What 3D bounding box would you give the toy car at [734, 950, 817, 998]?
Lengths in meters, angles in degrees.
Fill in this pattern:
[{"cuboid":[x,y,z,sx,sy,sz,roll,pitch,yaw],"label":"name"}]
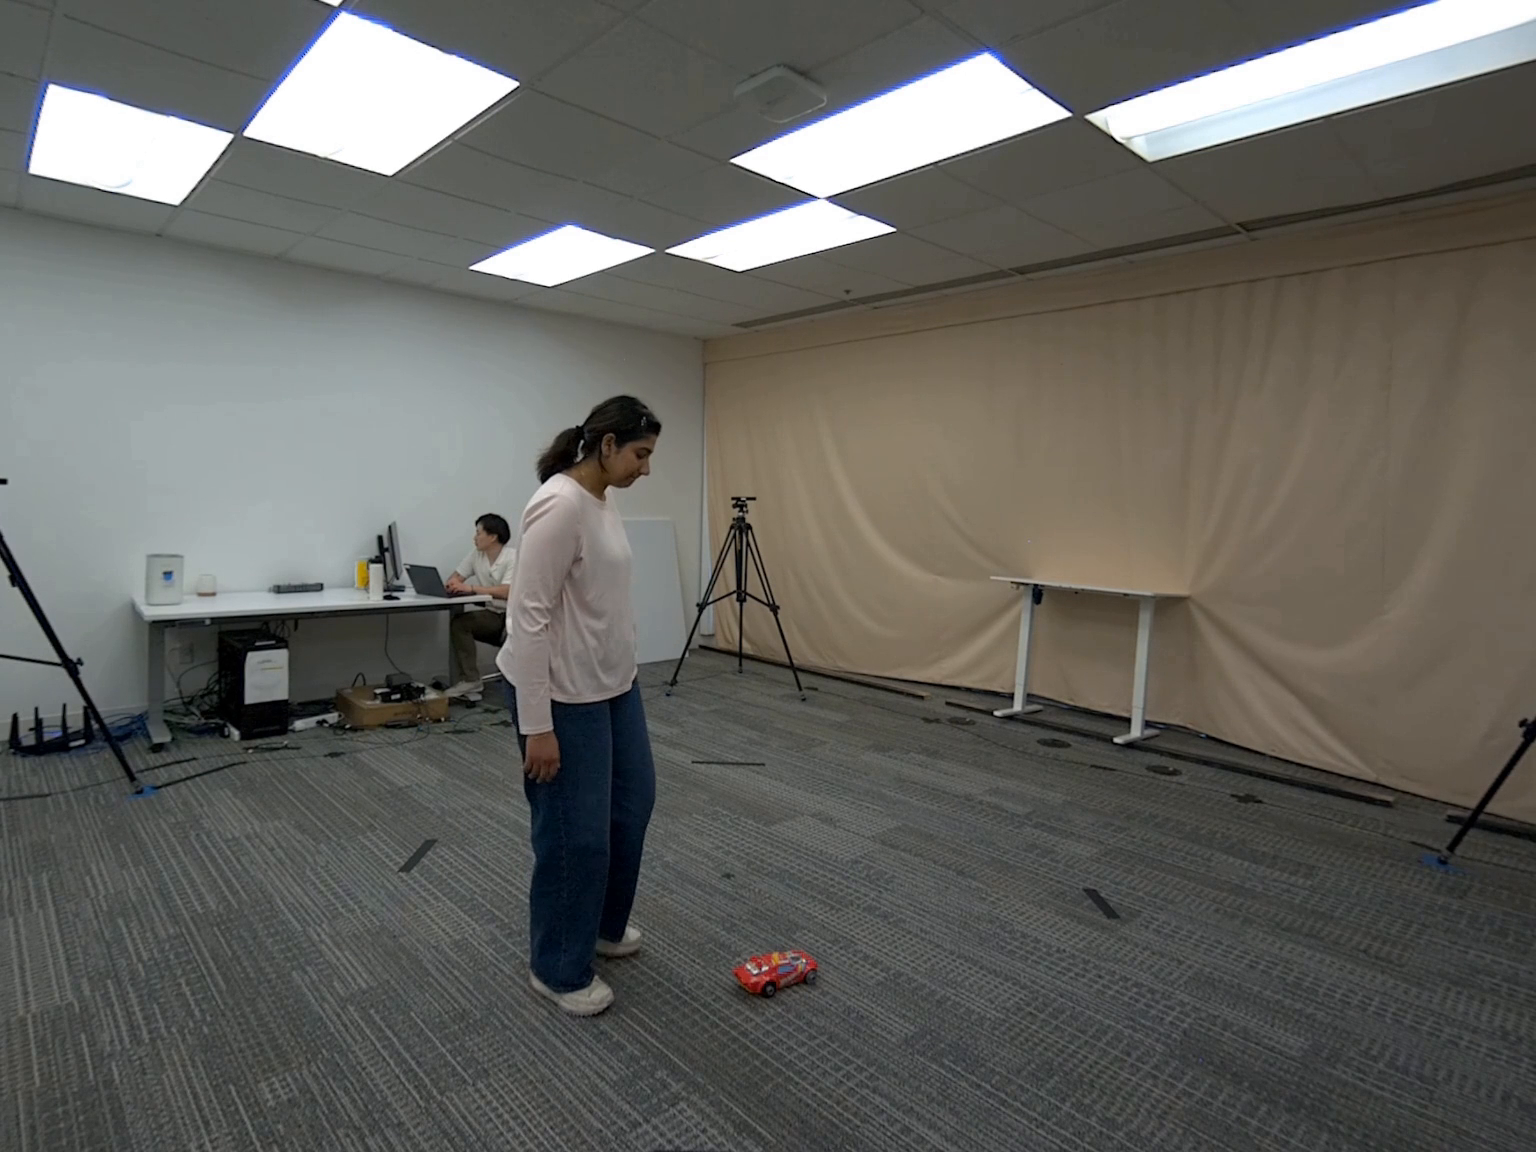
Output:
[{"cuboid":[0.011,1.147,2.415,0.248,0.083,0.133,11,-1,-31],"label":"toy car"}]
